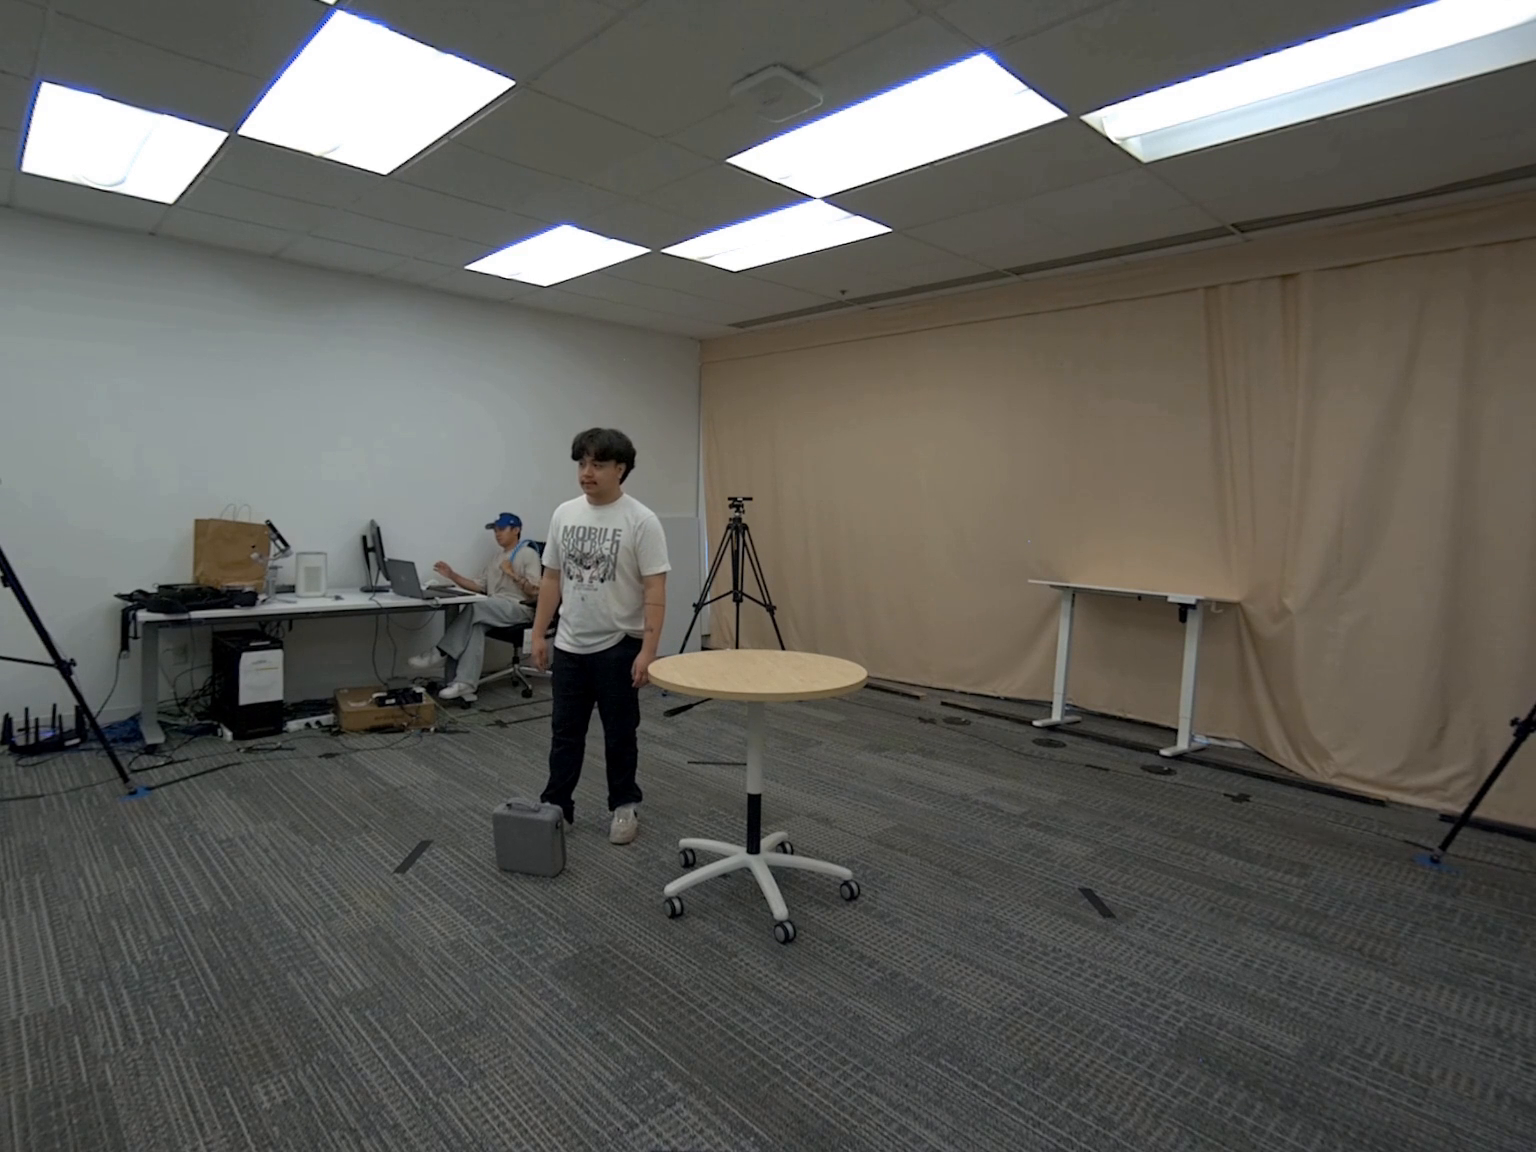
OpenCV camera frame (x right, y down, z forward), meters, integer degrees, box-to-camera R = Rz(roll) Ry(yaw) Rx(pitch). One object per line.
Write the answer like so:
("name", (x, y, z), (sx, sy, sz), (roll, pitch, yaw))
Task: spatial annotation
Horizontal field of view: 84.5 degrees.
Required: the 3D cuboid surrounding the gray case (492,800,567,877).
("gray case", (-0.892, 0.968, 3.095), (0.260, 0.258, 0.104), (3, 15, 14))
